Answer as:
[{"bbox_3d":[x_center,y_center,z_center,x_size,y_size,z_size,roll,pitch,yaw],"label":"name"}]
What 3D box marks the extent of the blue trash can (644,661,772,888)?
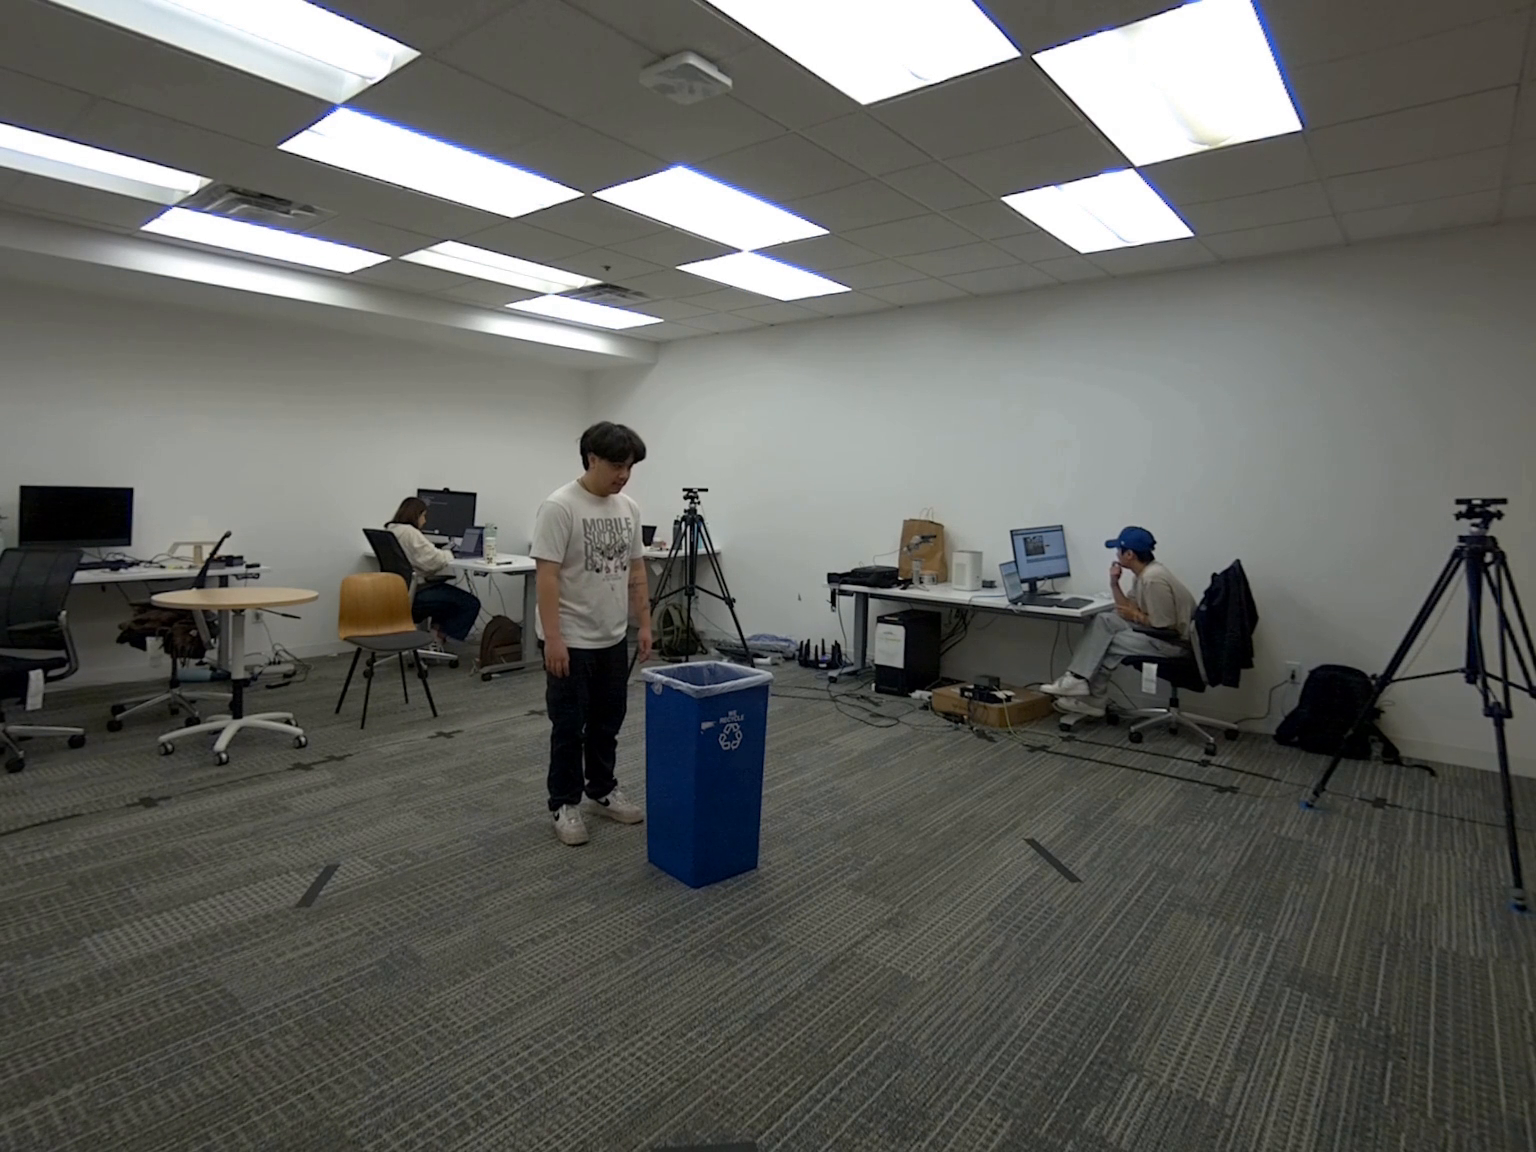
[{"bbox_3d":[-0.242,0.706,3.145,0.363,0.711,0.391,-2,4,-41],"label":"blue trash can"}]
